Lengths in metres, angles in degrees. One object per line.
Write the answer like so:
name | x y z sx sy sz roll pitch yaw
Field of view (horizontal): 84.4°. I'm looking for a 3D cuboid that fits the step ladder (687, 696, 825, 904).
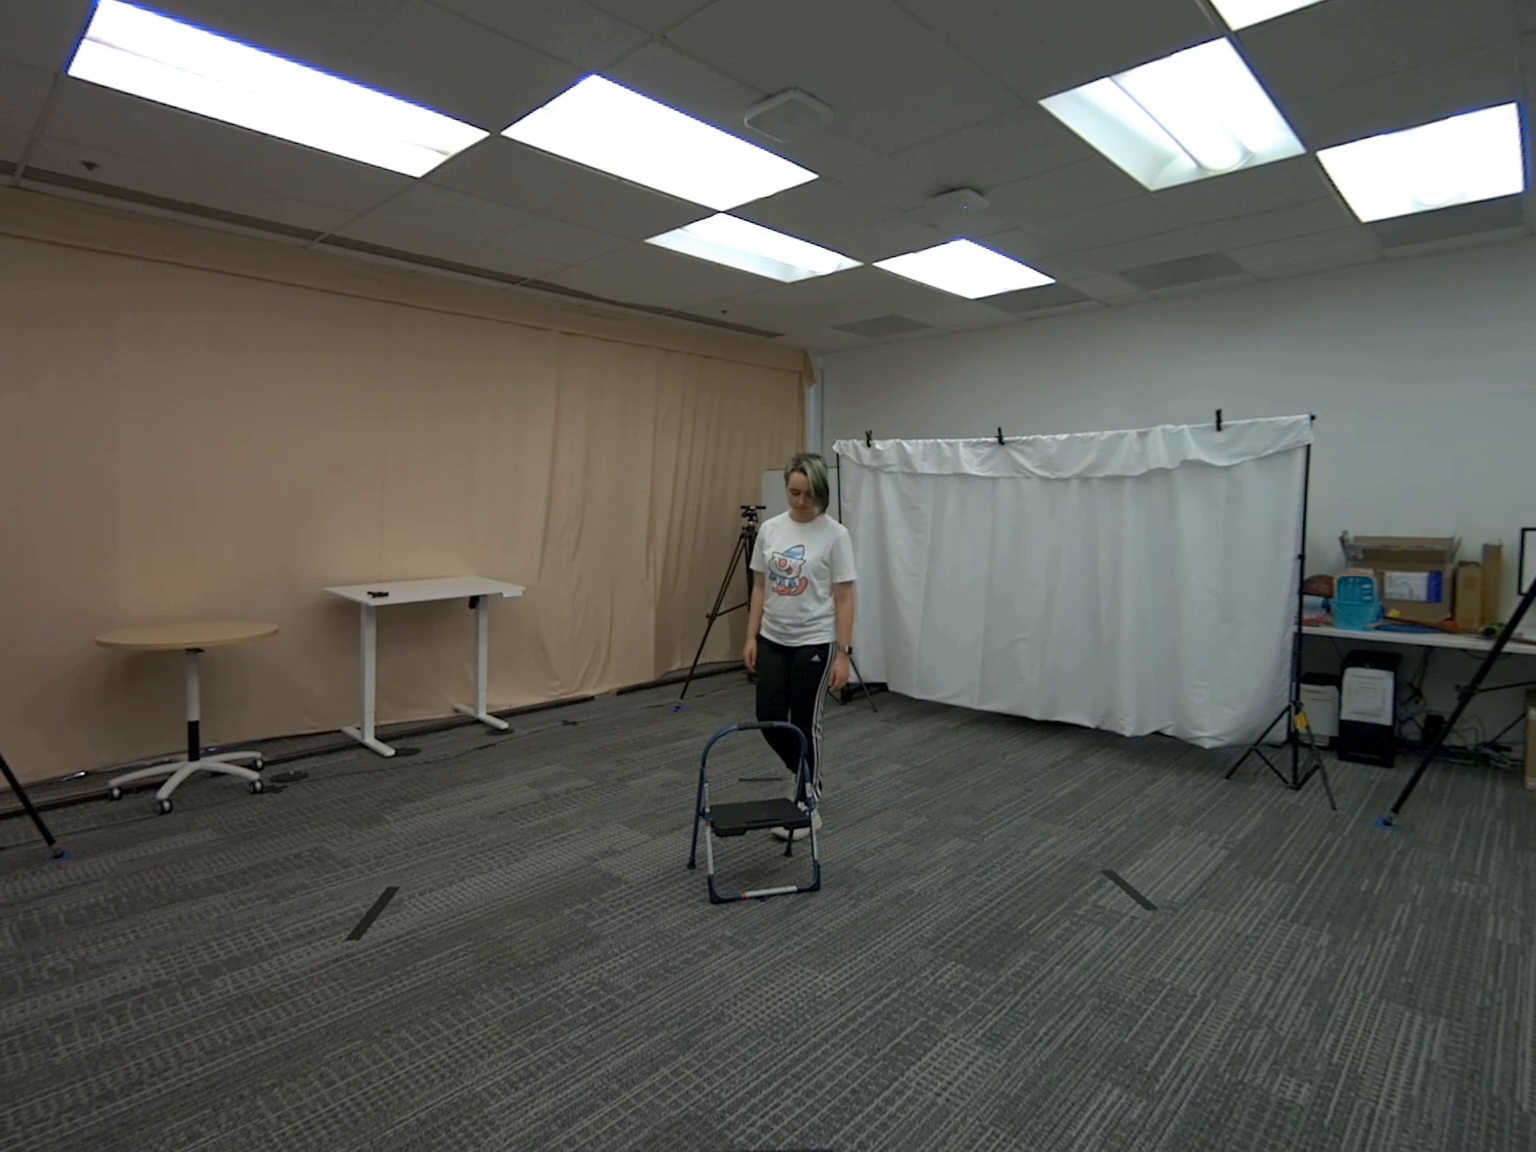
step ladder | -0.058 0.829 3.134 0.423 0.604 0.356 -2 4 -17
